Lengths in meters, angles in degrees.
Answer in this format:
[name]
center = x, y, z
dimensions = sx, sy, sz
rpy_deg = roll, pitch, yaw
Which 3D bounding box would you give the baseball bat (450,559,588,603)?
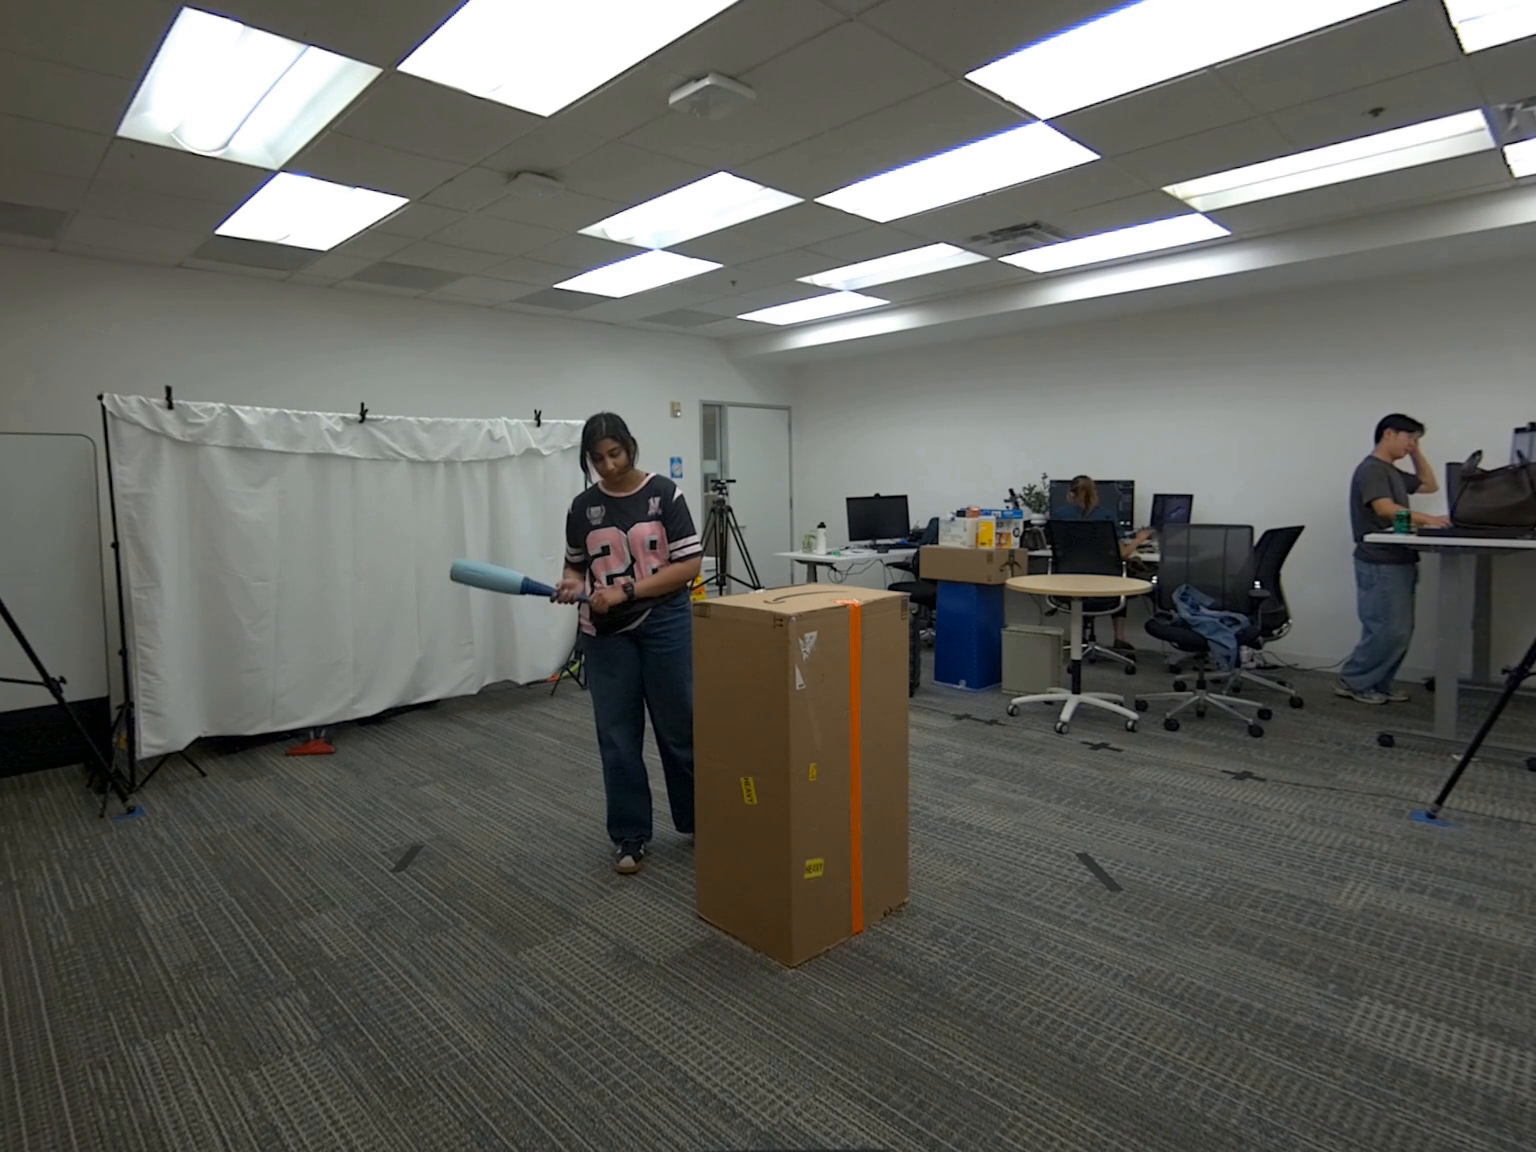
[baseball bat]
center = -0.817, 0.042, 2.969
dimensions = 0.539, 0.089, 0.090
rpy_deg = 13, 3, -6
